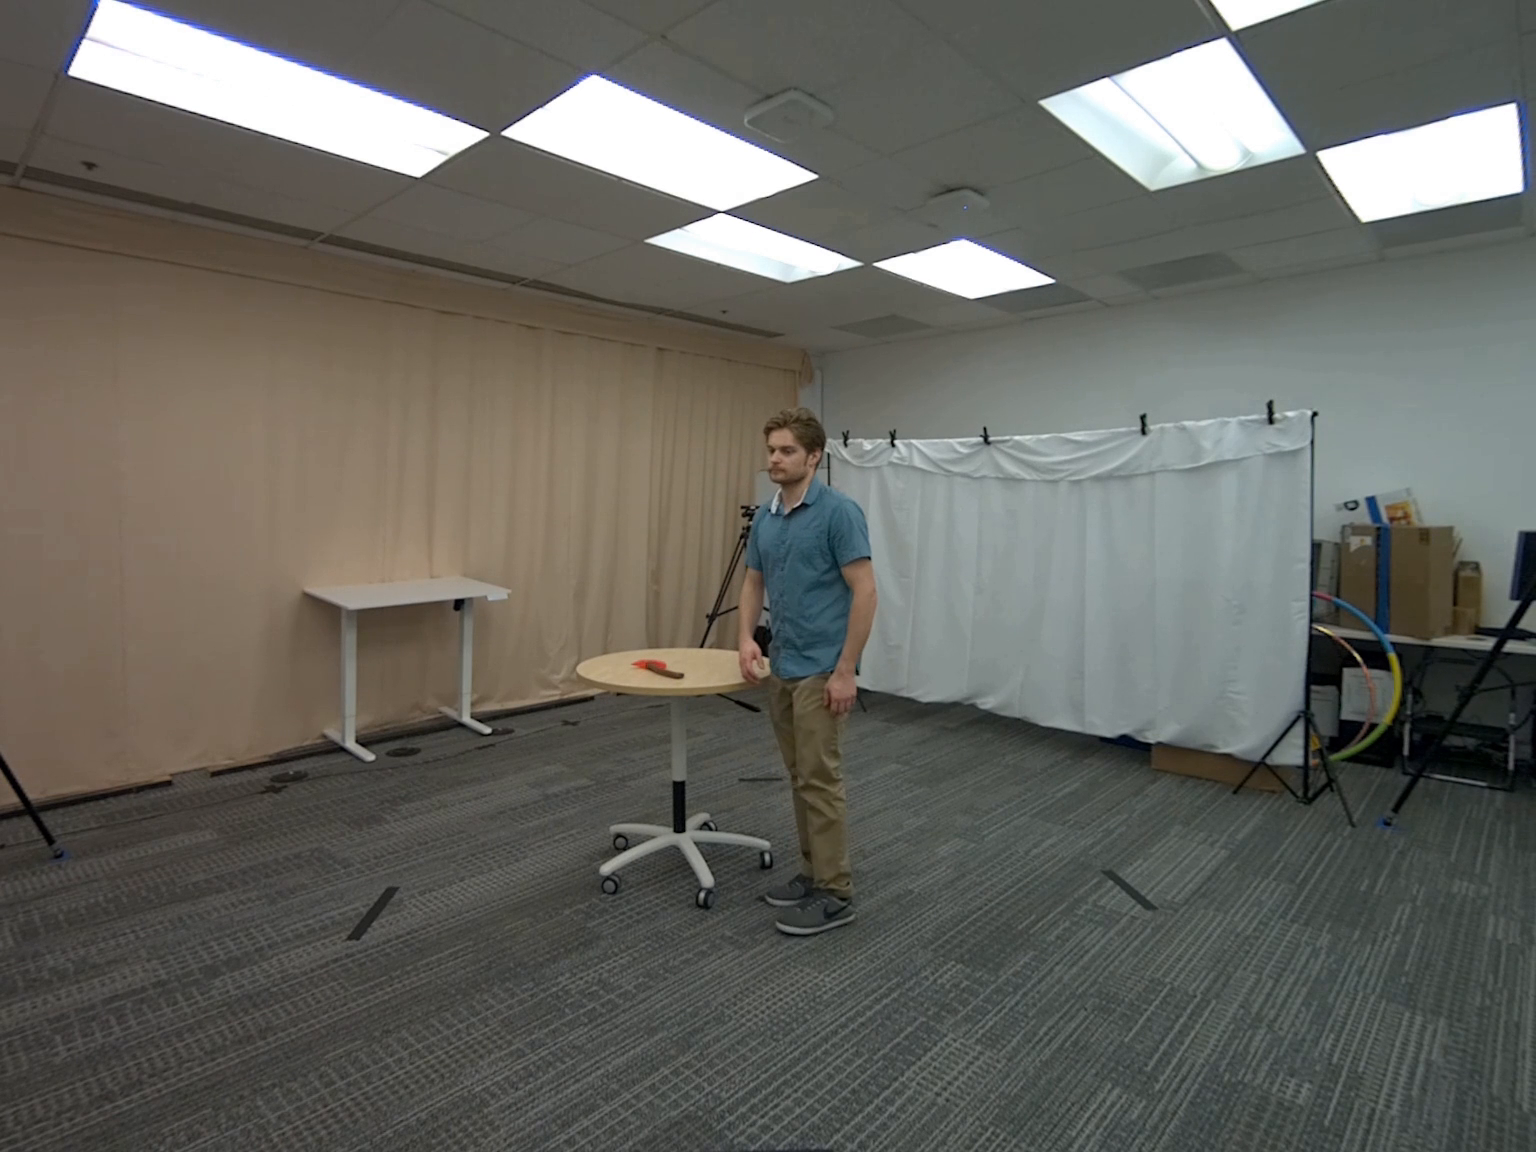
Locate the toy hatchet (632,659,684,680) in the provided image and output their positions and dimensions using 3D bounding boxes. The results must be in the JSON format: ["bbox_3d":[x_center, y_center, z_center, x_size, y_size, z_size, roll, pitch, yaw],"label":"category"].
[{"bbox_3d":[-0.376,0.345,3.104,0.279,0.029,0.127,8,5,44],"label":"toy hatchet"}]
